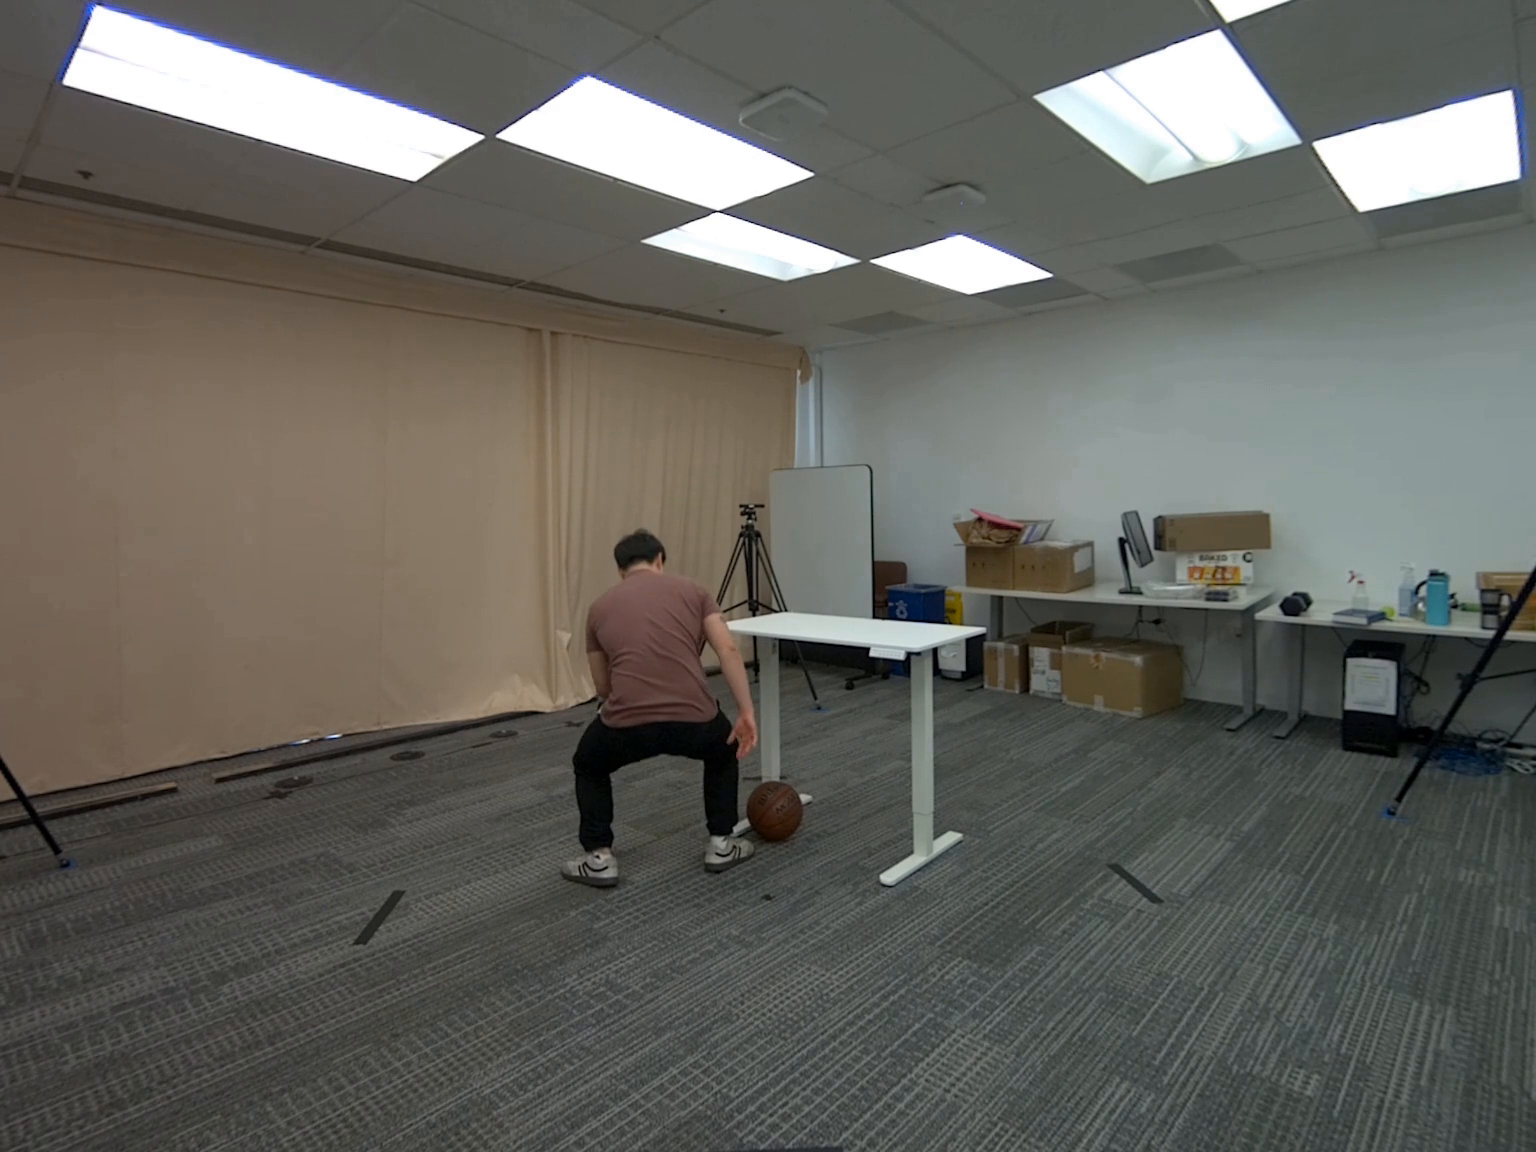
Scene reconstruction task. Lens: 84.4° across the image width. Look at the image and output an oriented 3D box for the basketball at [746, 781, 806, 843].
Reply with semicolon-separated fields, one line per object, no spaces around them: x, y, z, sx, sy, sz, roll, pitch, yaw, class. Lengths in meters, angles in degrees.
0.030;0.979;3.501;0.236;0.235;0.237;-1;4;-2;basketball
